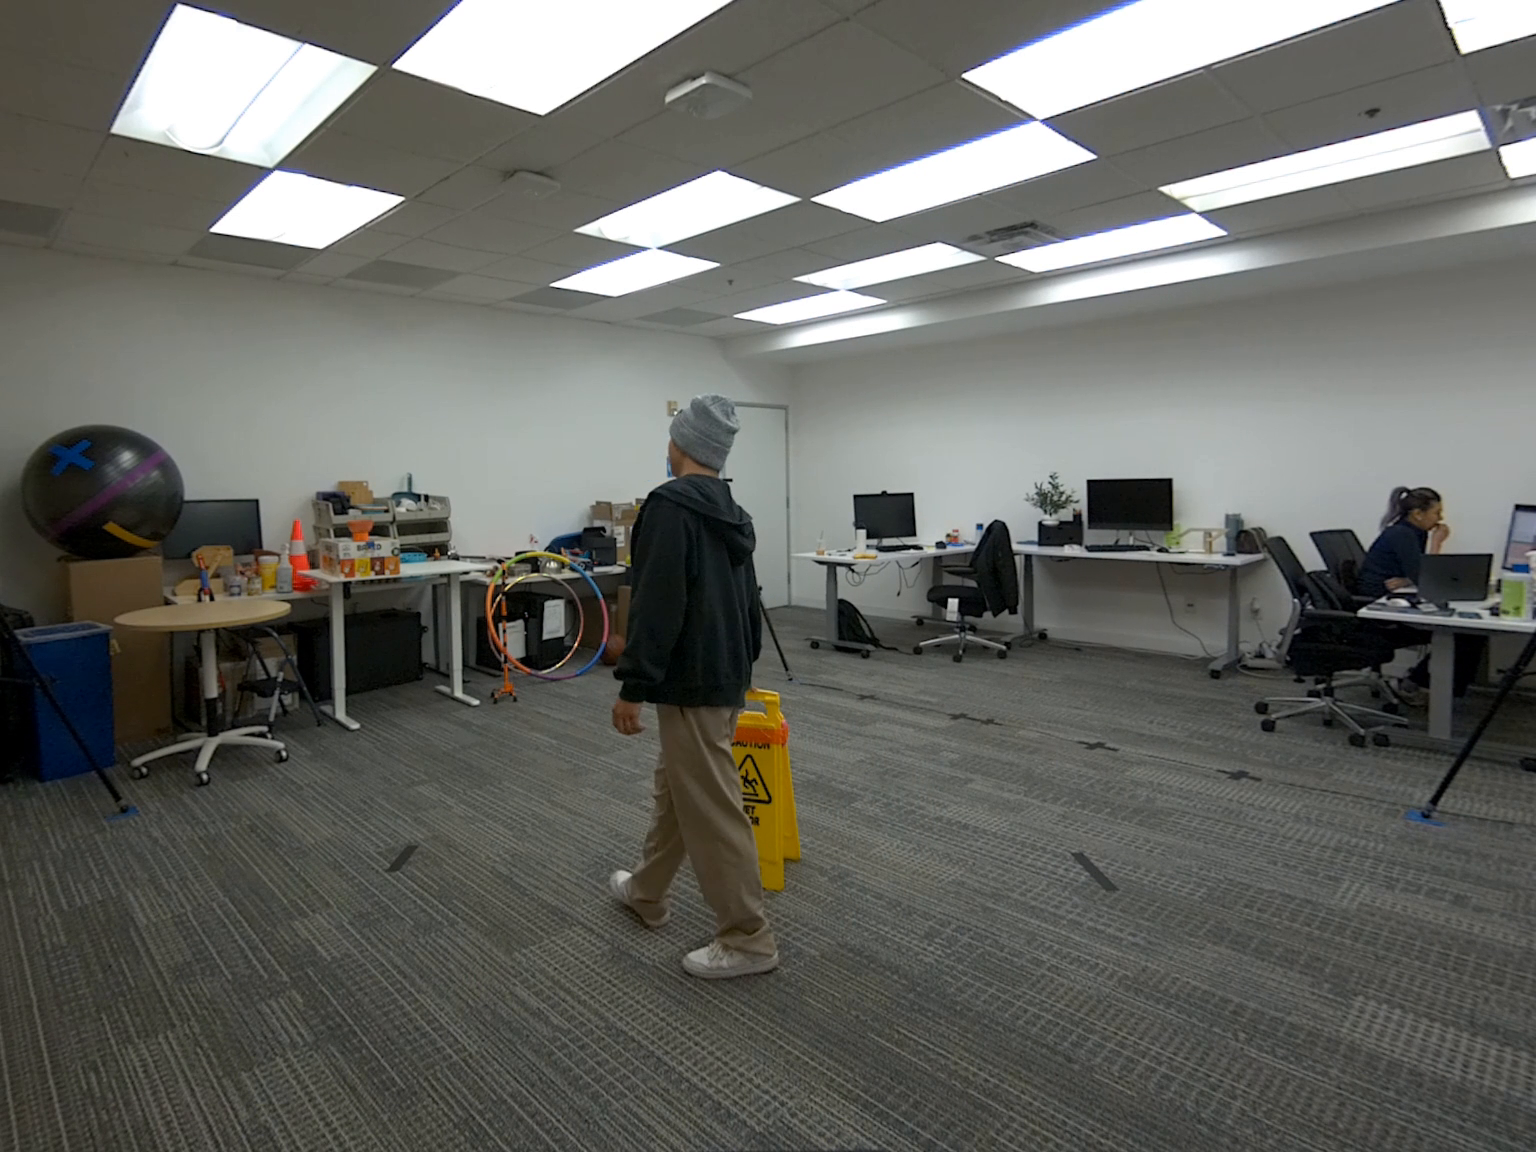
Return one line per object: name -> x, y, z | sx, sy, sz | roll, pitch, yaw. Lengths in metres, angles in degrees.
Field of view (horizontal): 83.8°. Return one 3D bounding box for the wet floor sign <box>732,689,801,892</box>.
wet floor sign -> -0.050, 0.730, 3.033 | 0.287, 0.644, 0.286 | 0, 4, 18
